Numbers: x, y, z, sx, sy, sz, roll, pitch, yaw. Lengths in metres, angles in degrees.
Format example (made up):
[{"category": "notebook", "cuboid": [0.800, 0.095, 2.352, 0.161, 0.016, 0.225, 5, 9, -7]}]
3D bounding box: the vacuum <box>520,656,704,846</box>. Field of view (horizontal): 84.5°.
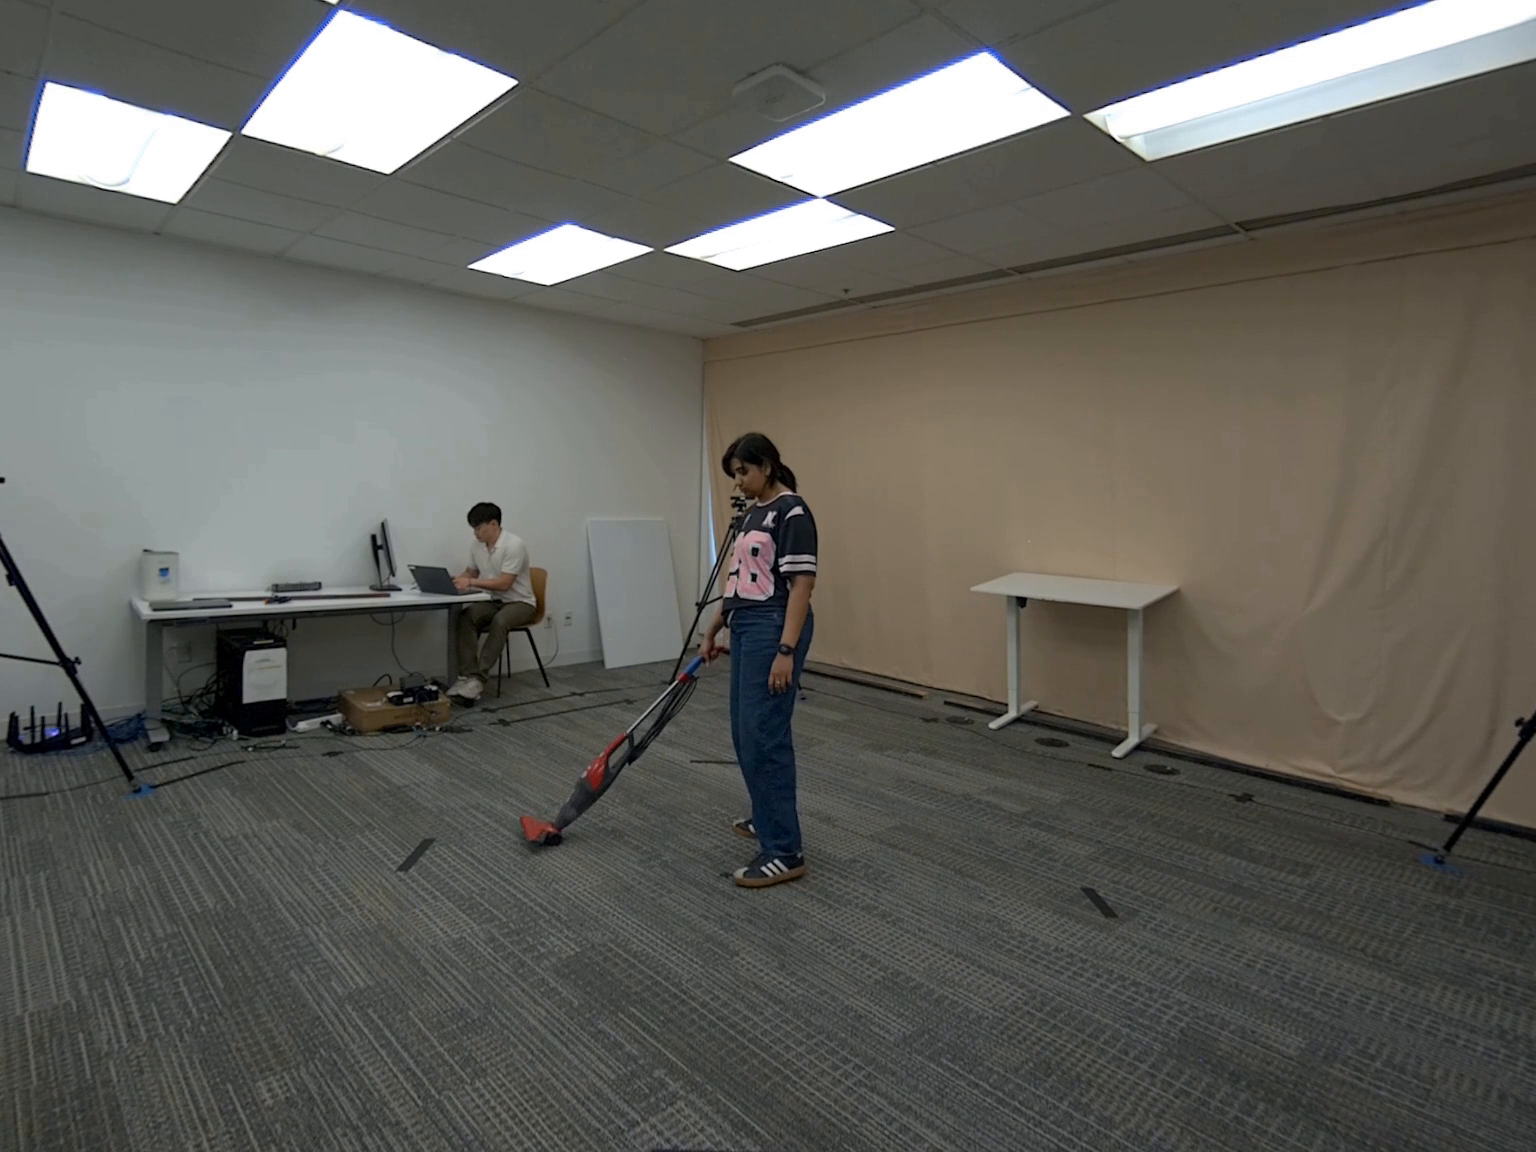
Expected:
[{"category": "vacuum", "cuboid": [-0.553, 0.677, 3.486, 1.048, 0.141, 0.258, -44, 22, -13]}]
